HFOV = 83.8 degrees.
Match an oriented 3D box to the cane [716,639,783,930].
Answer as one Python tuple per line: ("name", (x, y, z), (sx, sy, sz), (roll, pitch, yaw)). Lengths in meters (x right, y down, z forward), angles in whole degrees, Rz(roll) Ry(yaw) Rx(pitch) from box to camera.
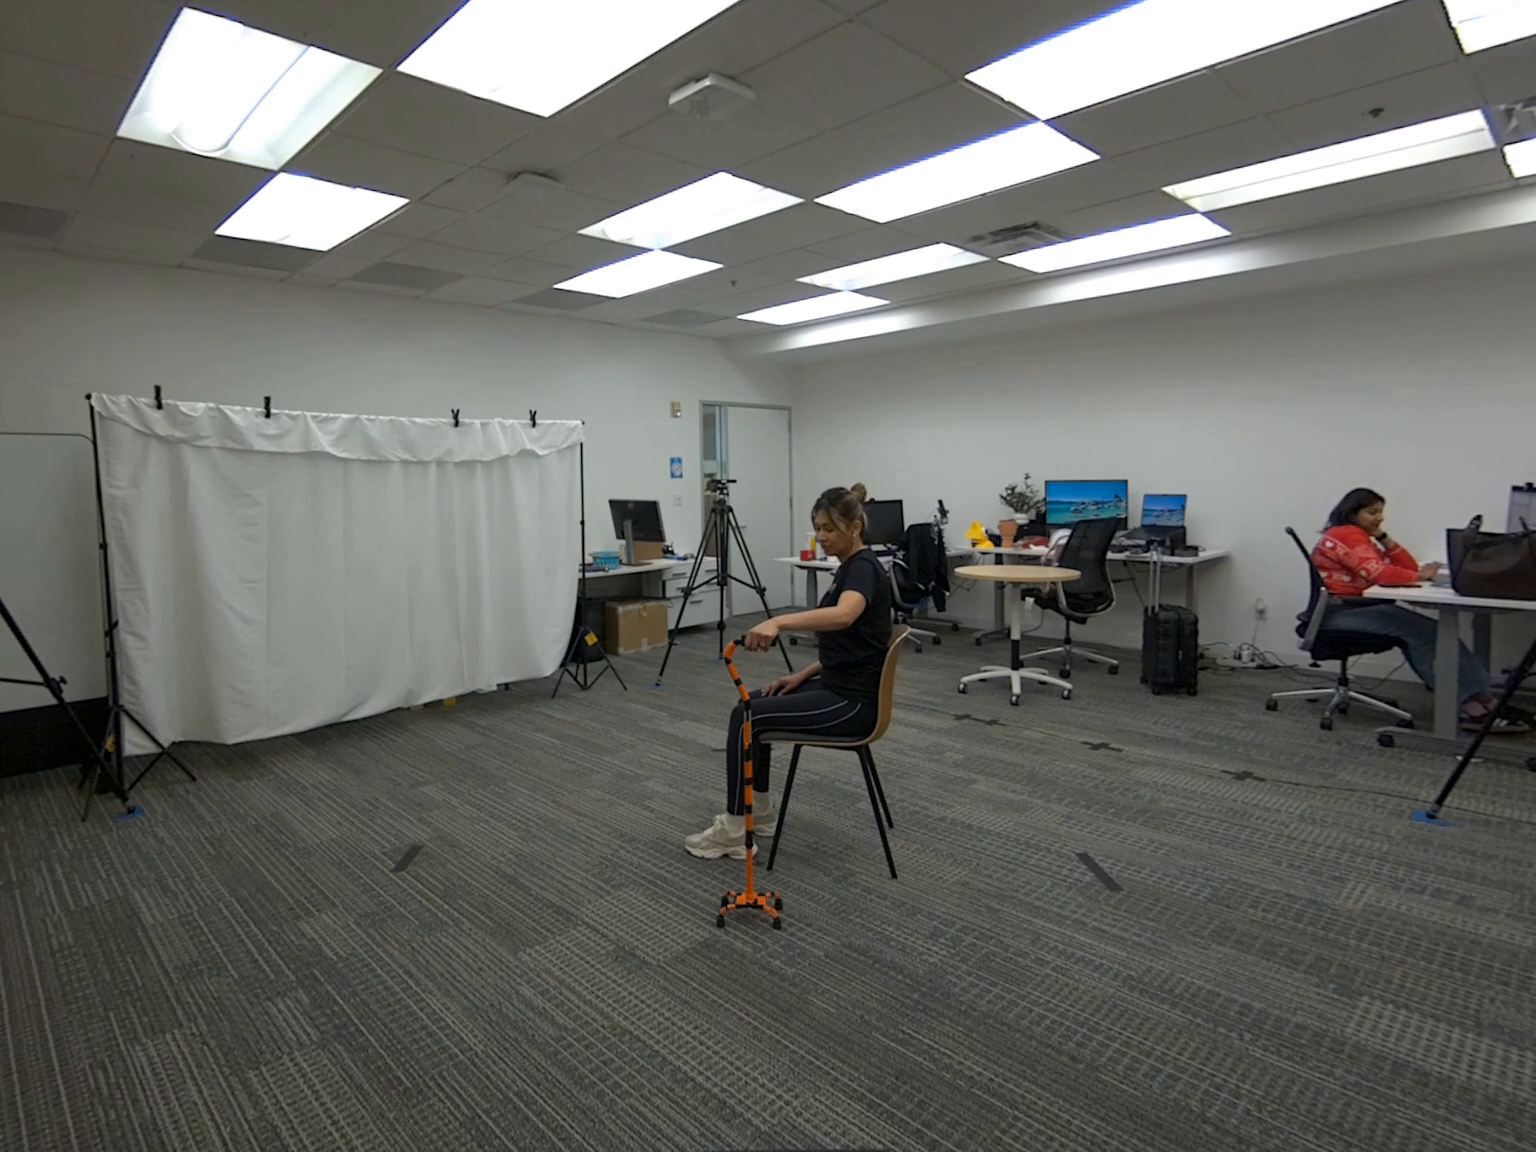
("cane", (-0.062, 0.642, 2.699), (0.207, 0.906, 0.151), (-1, 3, 4))
